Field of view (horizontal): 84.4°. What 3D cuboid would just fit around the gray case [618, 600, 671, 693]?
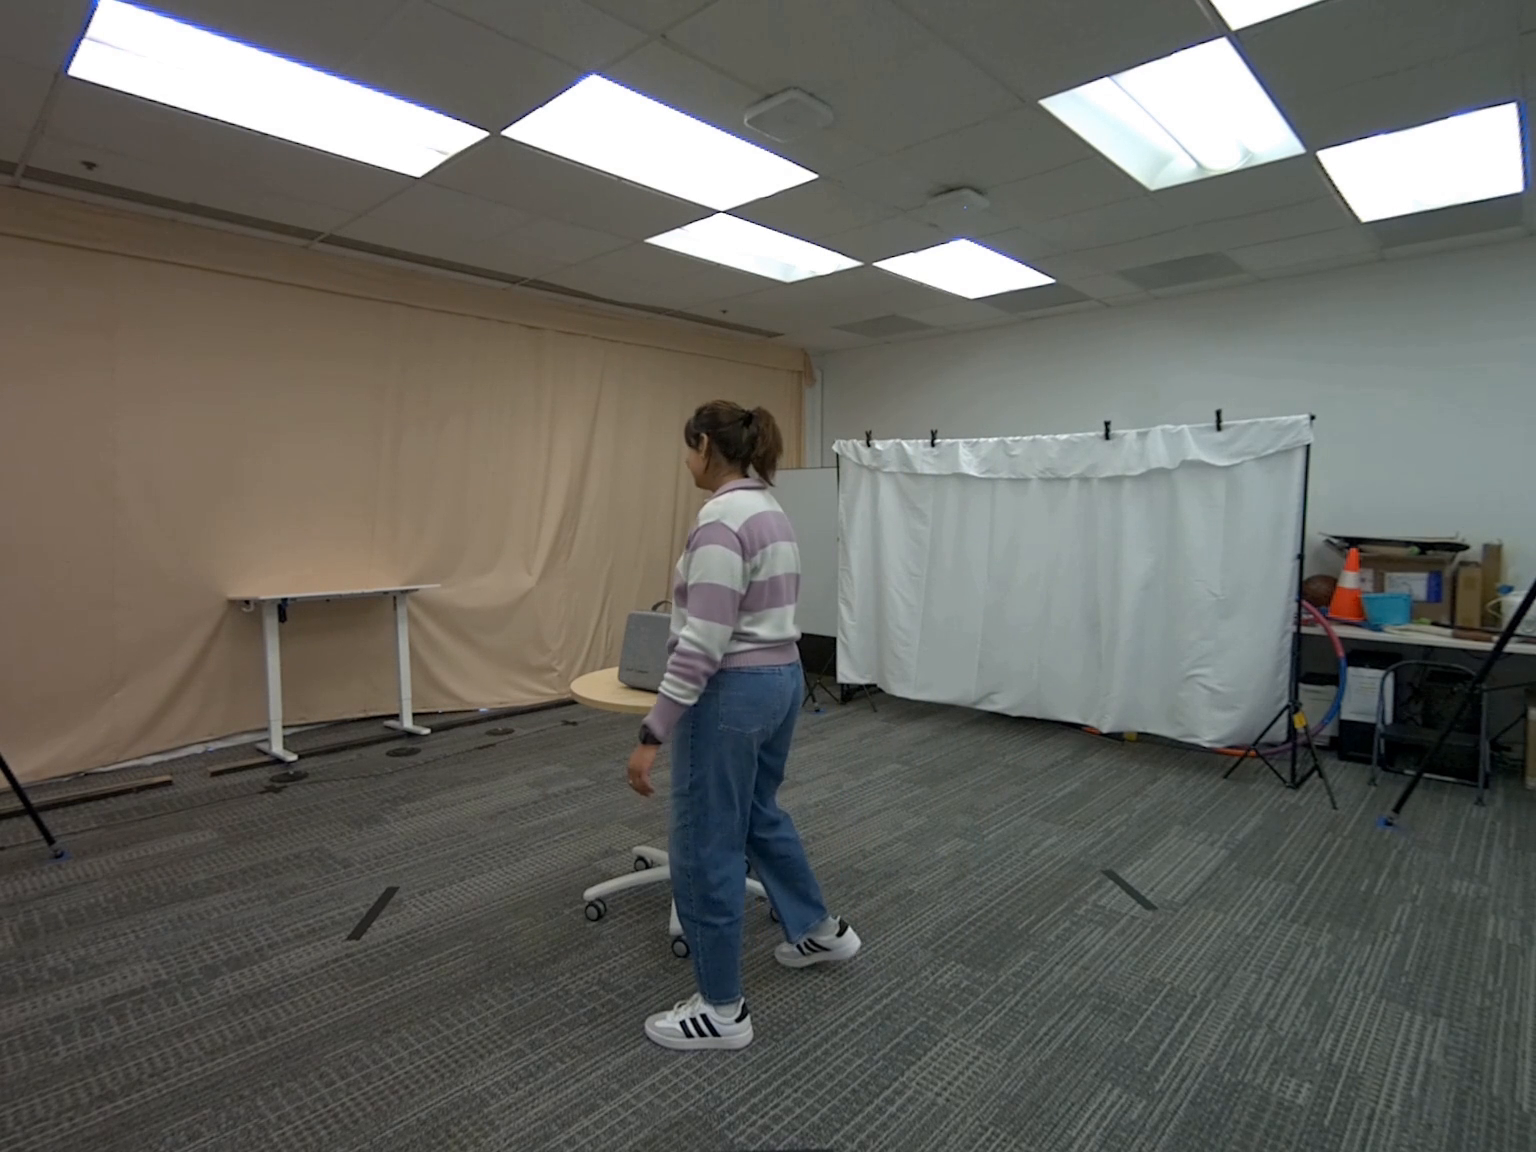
[{"bbox_3d":[-0.367,0.245,2.794,0.265,0.261,0.101,4,-8,37],"label":"gray case"}]
